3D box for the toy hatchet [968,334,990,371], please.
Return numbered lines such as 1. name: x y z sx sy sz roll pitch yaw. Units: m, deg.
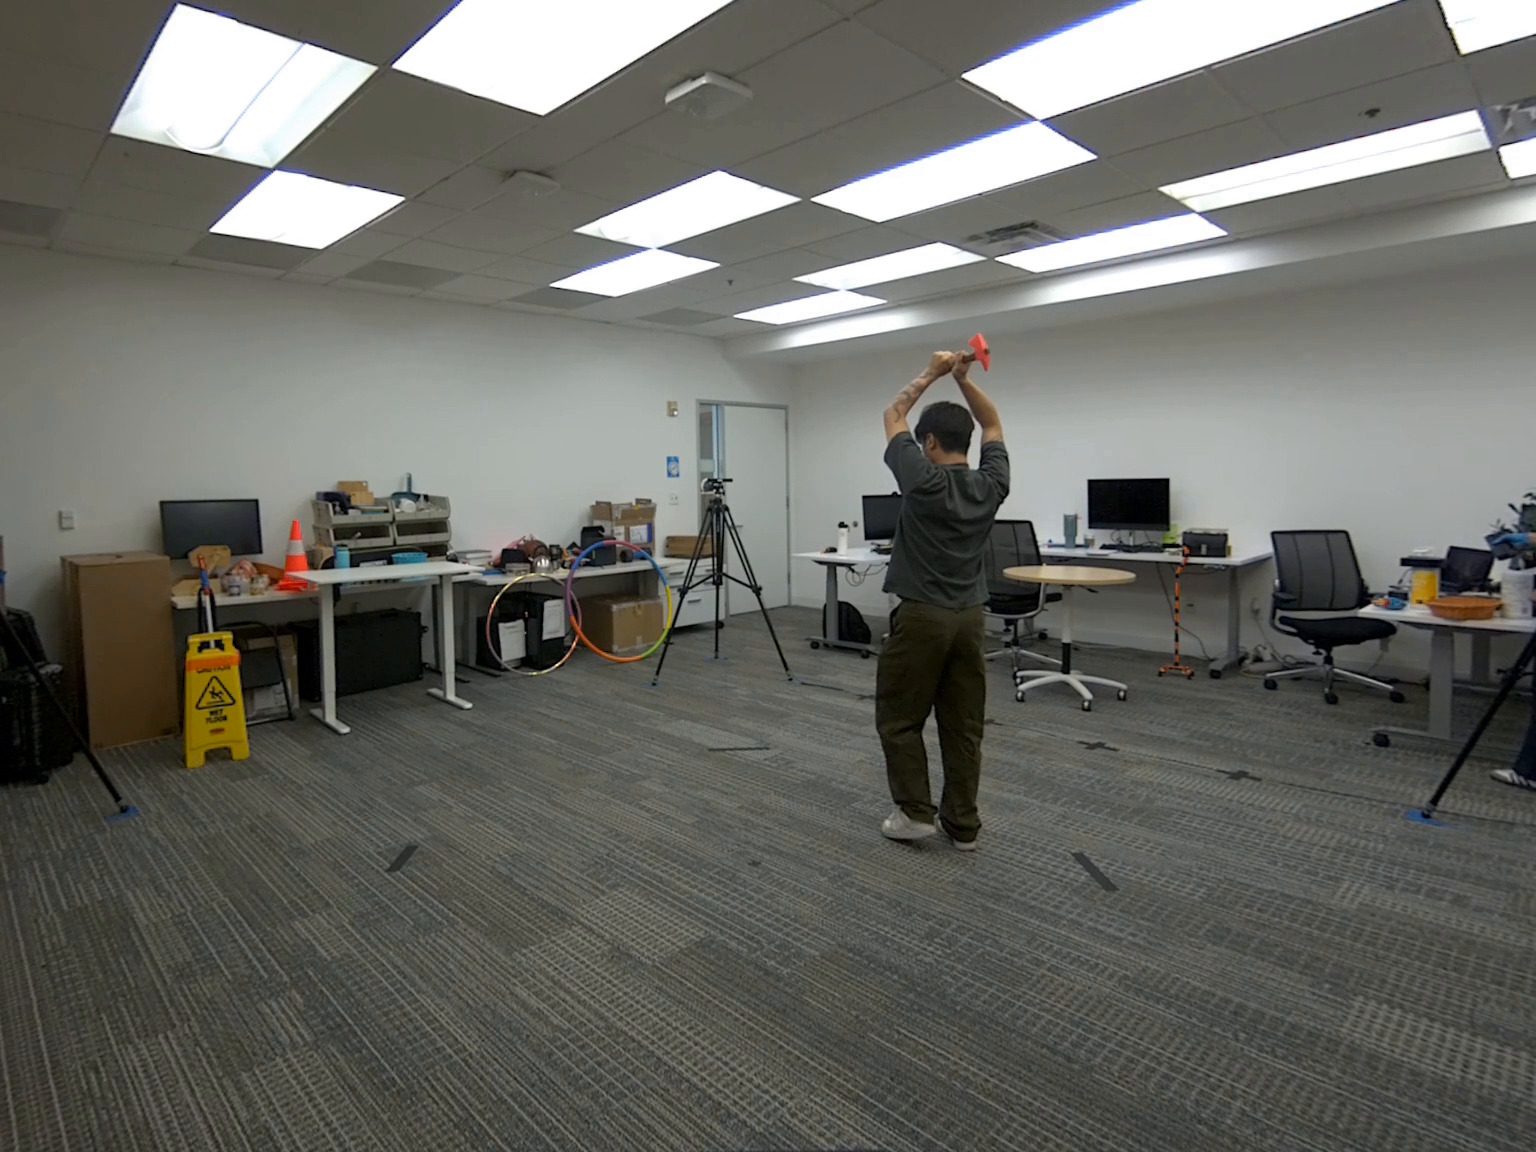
1. toy hatchet: 0.725 -0.836 3.161 0.029 0.128 0.279 -16 24 -19
